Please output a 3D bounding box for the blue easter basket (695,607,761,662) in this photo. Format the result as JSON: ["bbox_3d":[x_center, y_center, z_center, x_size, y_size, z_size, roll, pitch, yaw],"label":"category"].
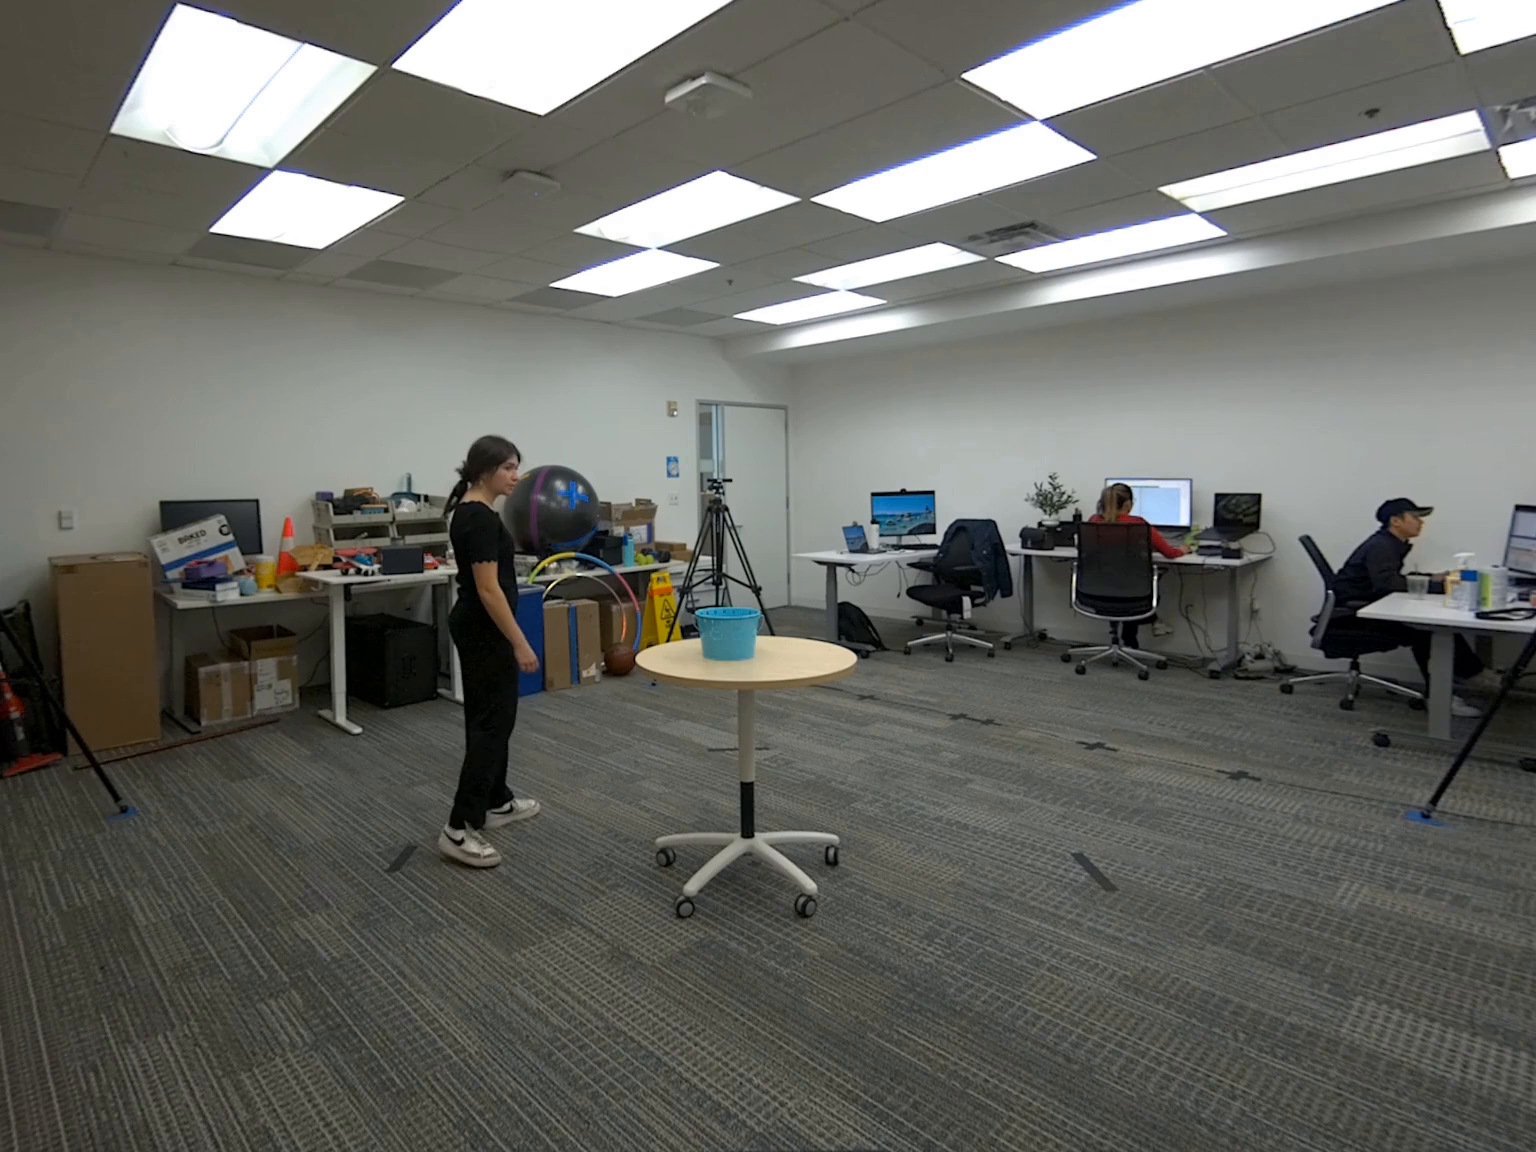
[{"bbox_3d":[-0.131,0.204,2.974,0.243,0.155,0.245,-1,6,-2],"label":"blue easter basket"}]
